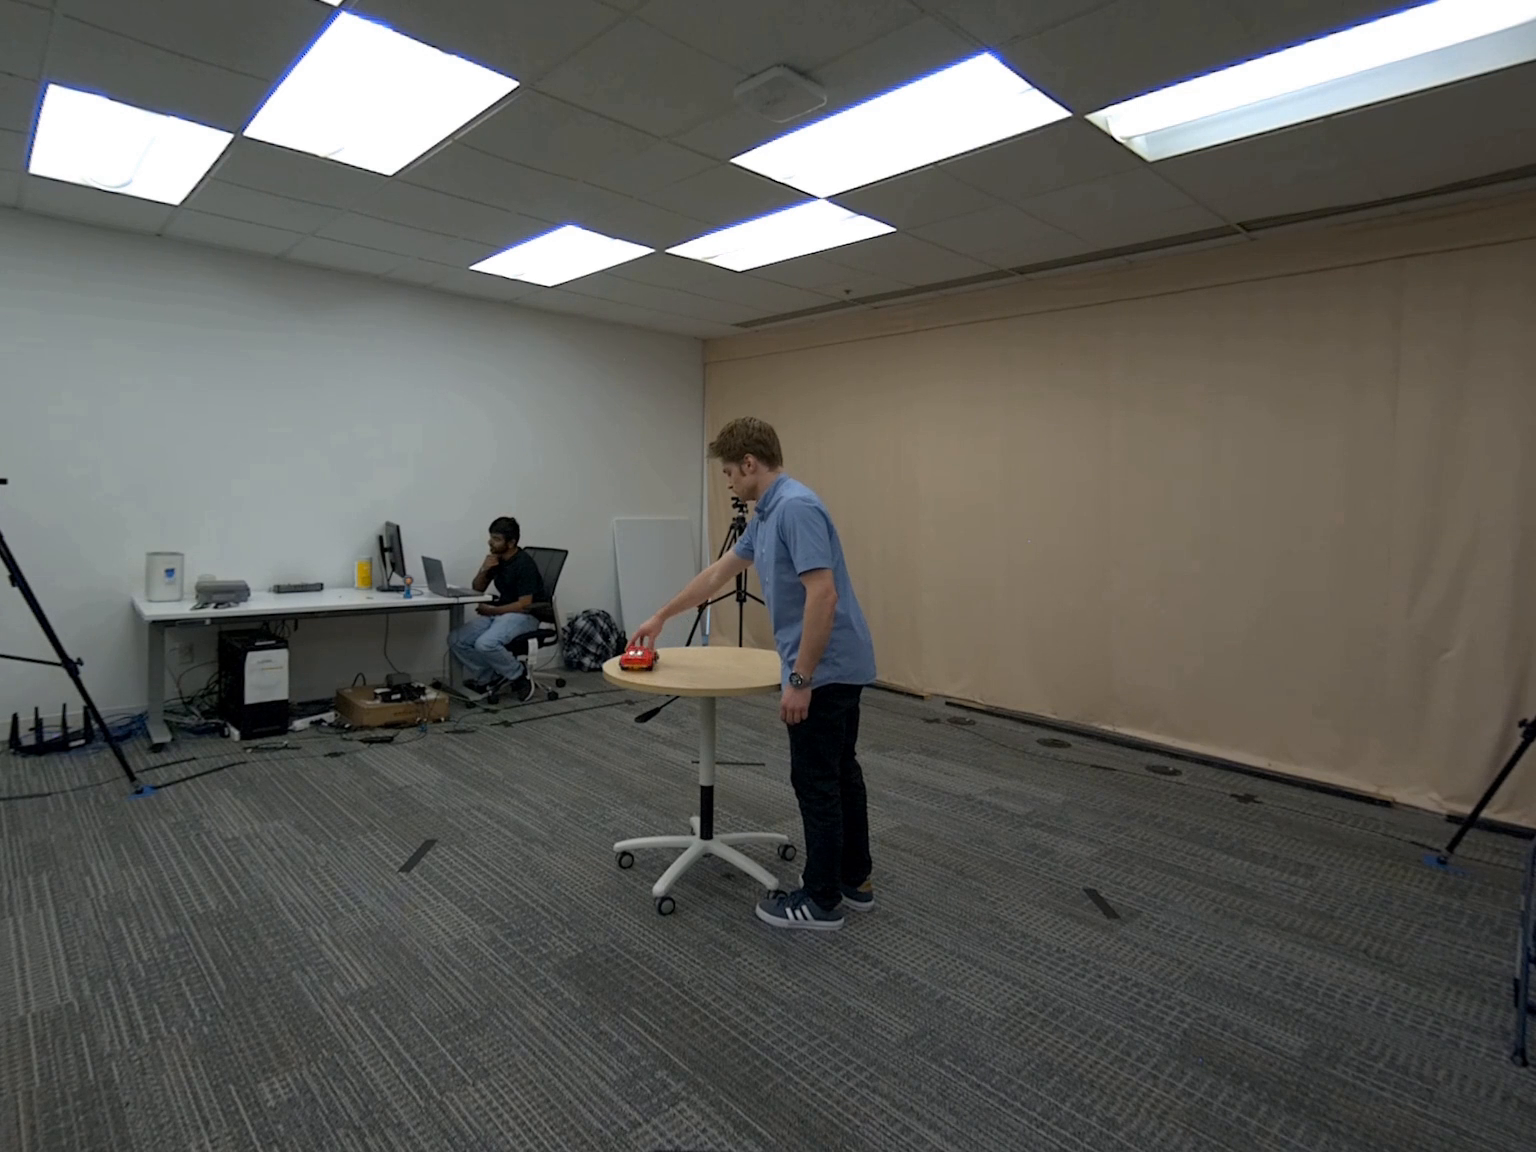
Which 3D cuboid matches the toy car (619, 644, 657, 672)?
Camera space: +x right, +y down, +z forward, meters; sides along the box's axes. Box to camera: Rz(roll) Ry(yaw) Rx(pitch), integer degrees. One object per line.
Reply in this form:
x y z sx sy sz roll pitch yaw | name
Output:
-0.469 0.298 3.009 0.130 0.083 0.253 1 -6 1 | toy car
